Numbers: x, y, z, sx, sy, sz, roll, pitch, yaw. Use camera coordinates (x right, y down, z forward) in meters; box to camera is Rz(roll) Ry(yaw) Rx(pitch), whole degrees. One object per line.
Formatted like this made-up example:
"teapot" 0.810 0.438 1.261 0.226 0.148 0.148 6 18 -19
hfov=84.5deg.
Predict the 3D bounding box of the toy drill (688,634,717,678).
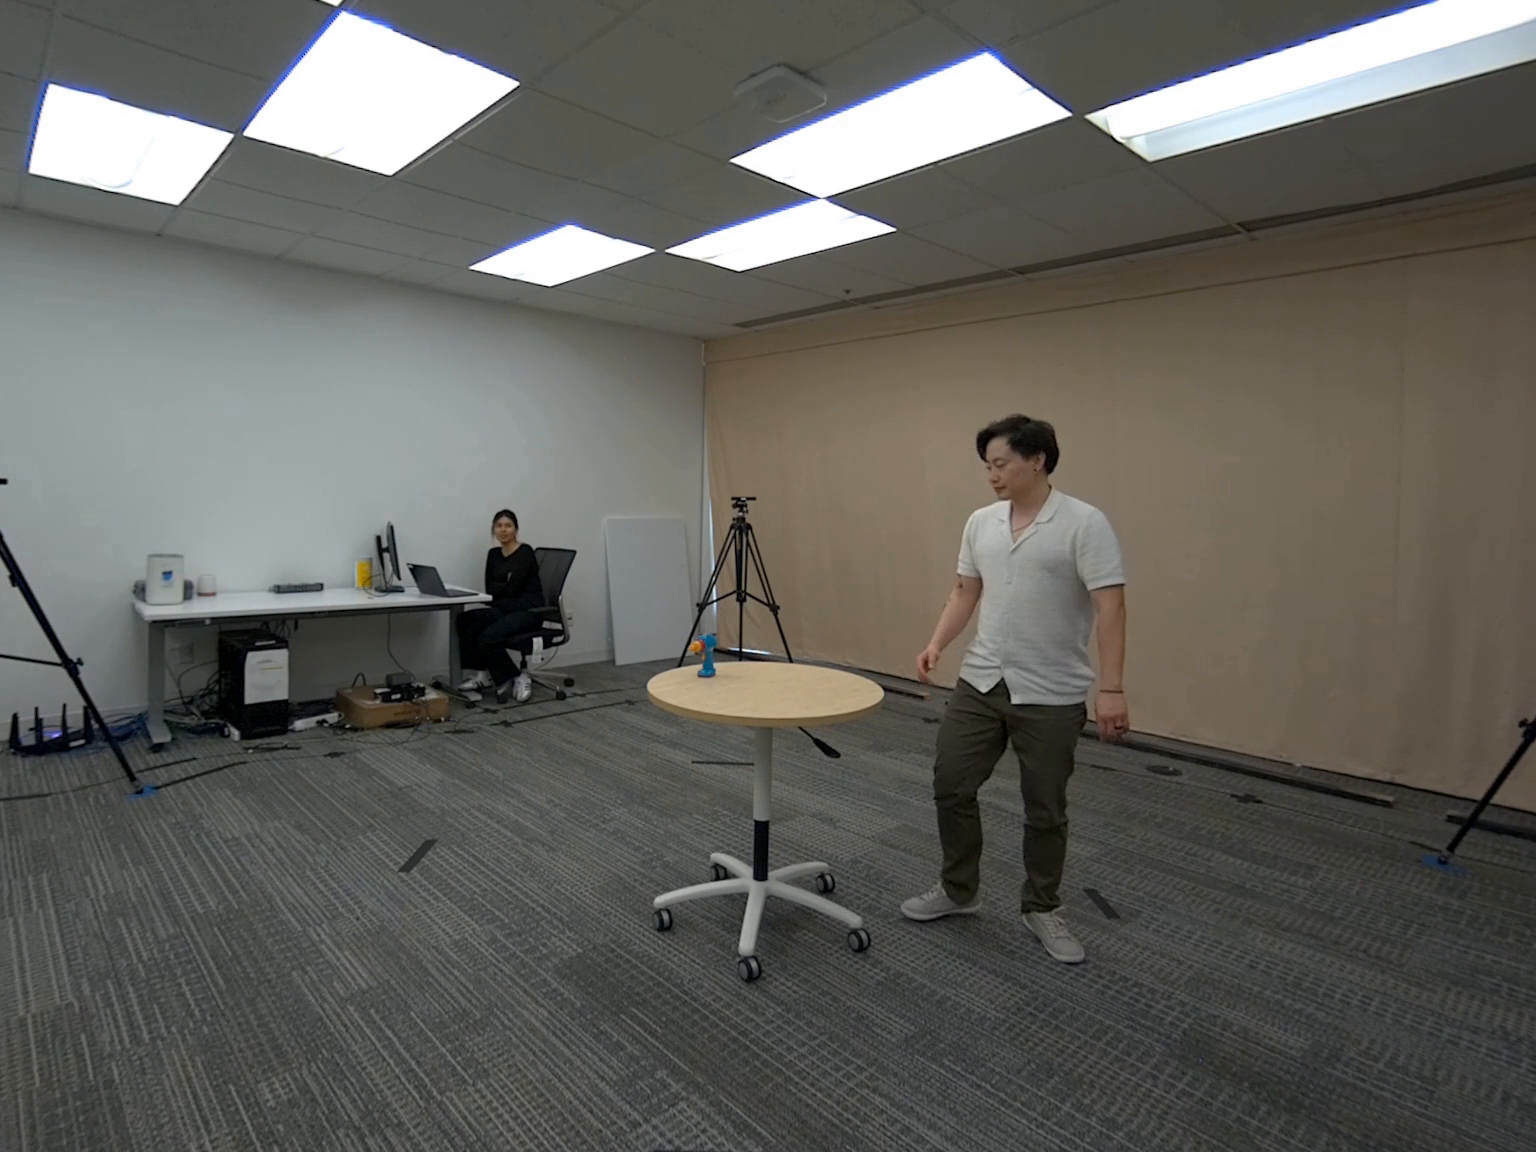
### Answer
"toy drill" -0.221 0.272 2.827 0.062 0.145 0.168 2 7 20
